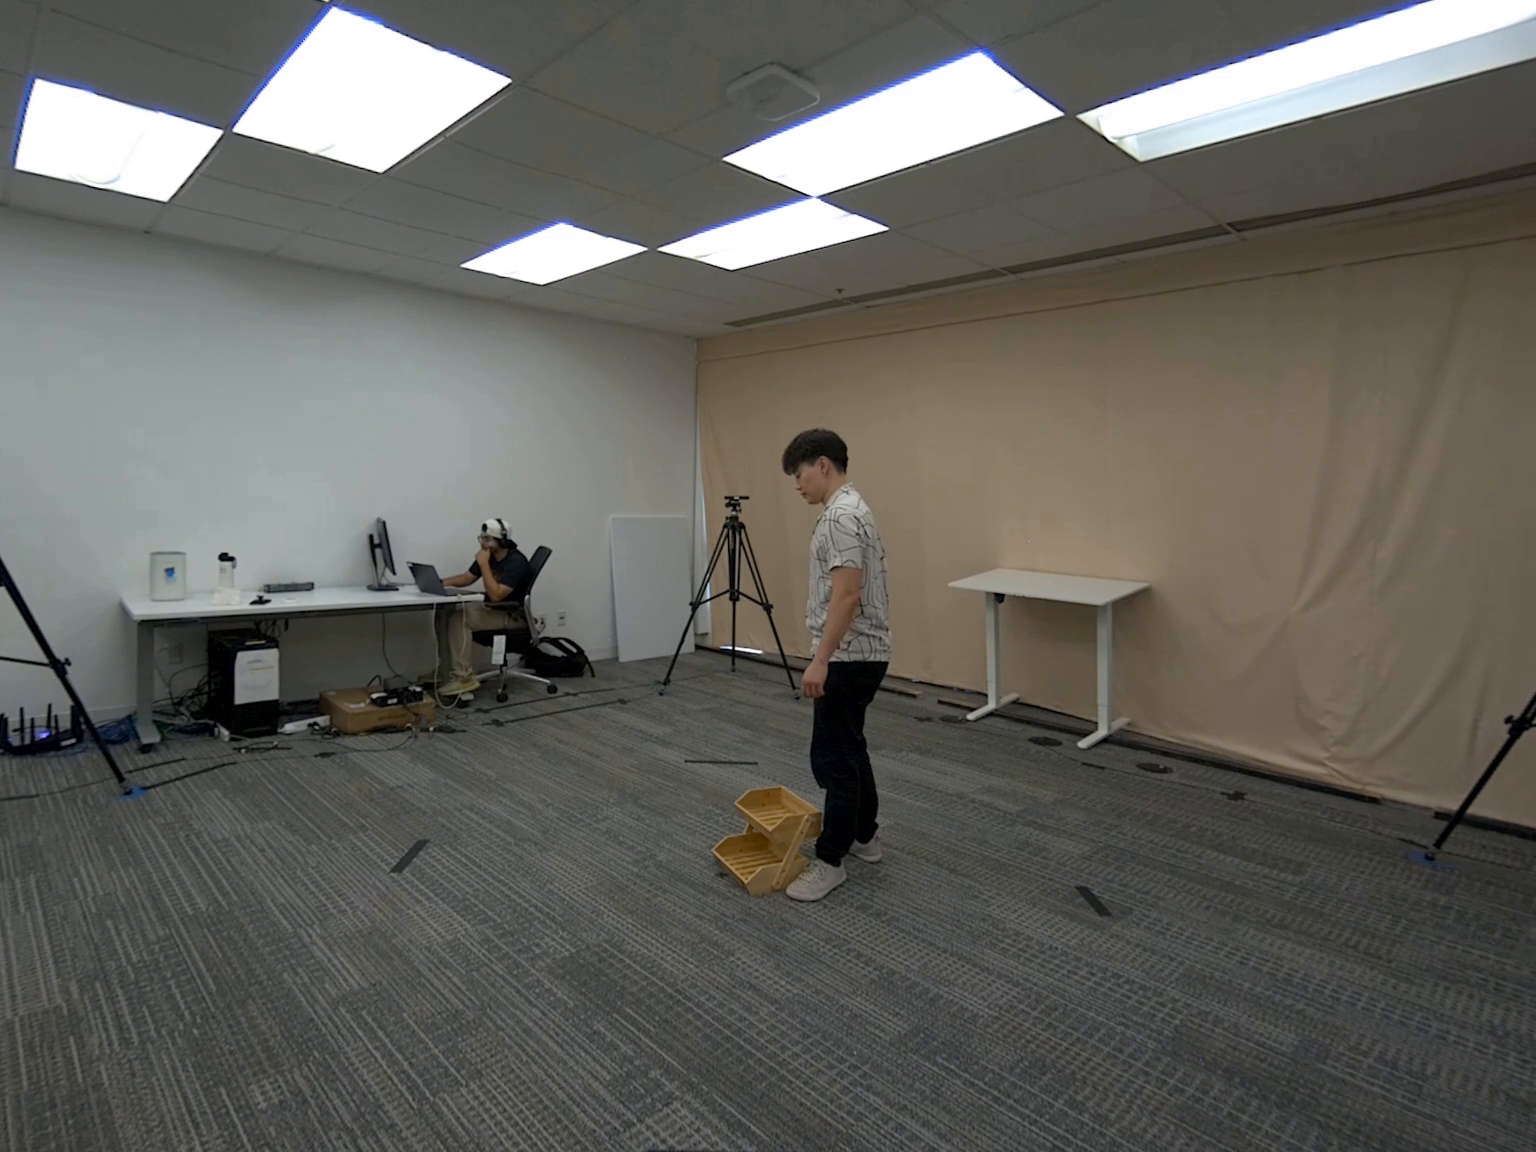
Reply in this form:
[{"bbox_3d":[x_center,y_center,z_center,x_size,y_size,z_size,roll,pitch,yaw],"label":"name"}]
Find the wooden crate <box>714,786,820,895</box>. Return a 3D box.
[{"bbox_3d":[-0.023,0.971,3.130,0.296,0.273,0.331,1,4,-27],"label":"wooden crate"}]
